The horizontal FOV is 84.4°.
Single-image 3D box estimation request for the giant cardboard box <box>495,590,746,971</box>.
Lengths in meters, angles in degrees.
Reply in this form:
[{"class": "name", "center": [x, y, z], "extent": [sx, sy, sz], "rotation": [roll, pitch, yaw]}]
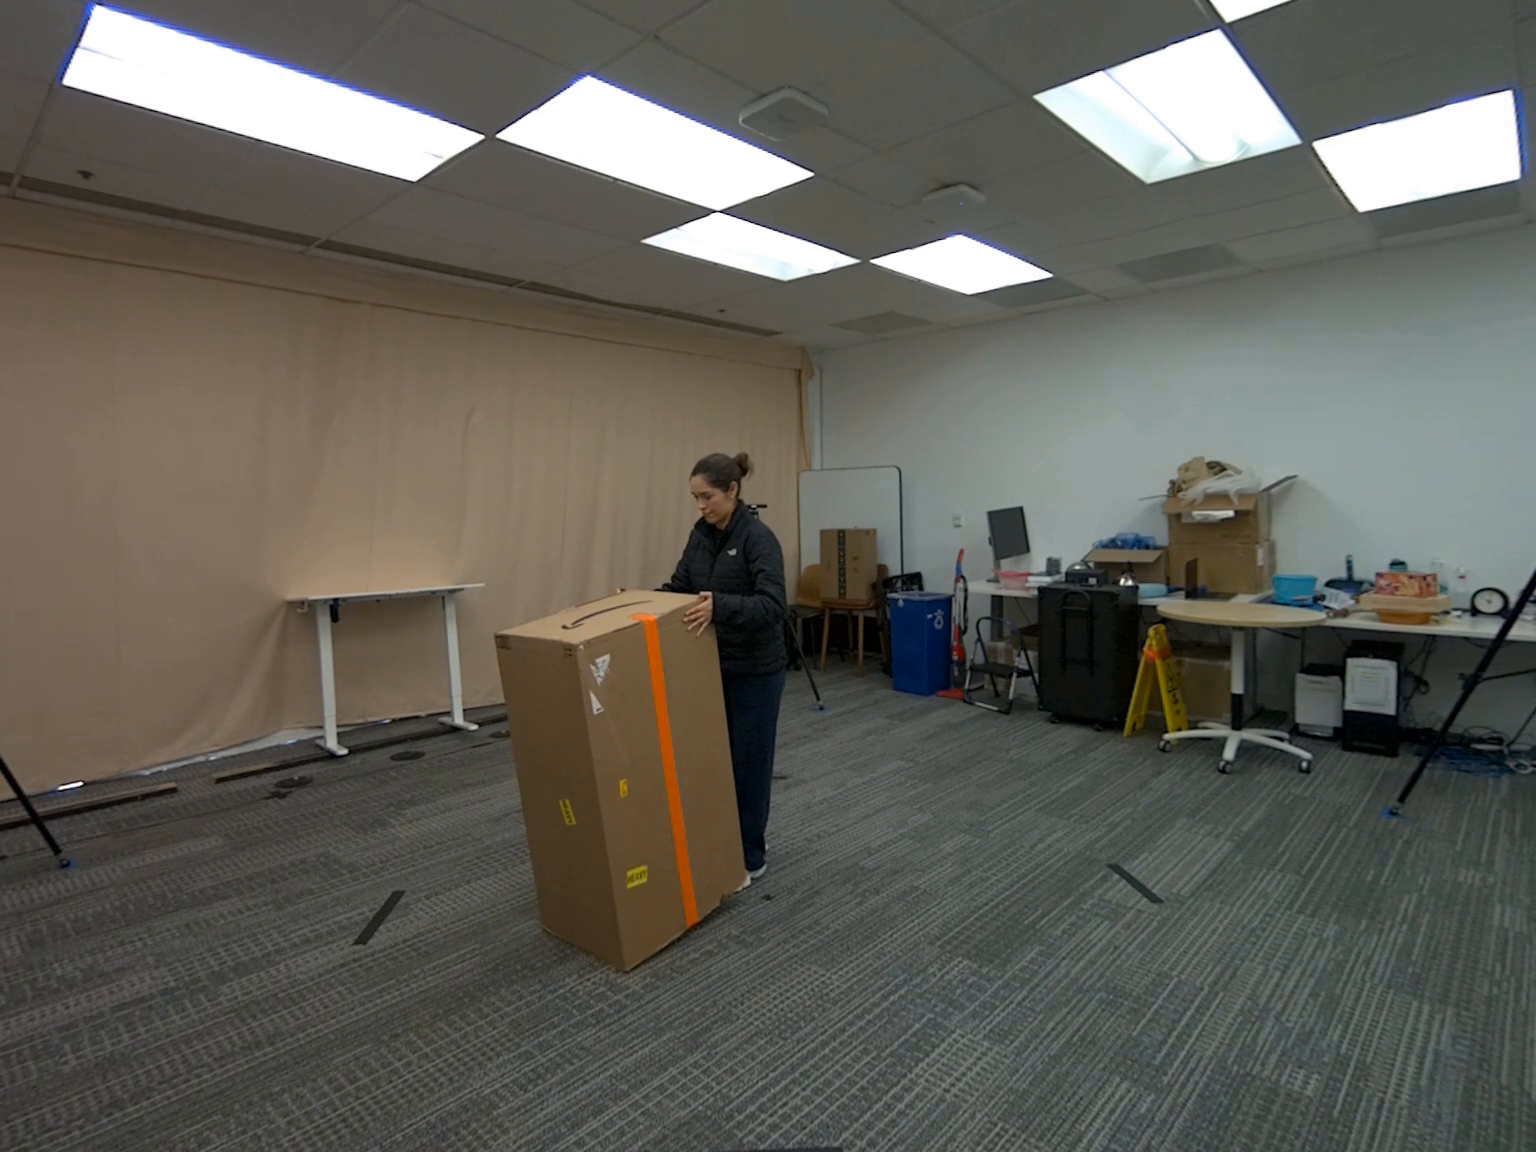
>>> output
[{"class": "giant cardboard box", "center": [-0.456, 0.626, 2.781], "extent": [0.440, 1.019, 0.563], "rotation": [1, 12, 41]}]
